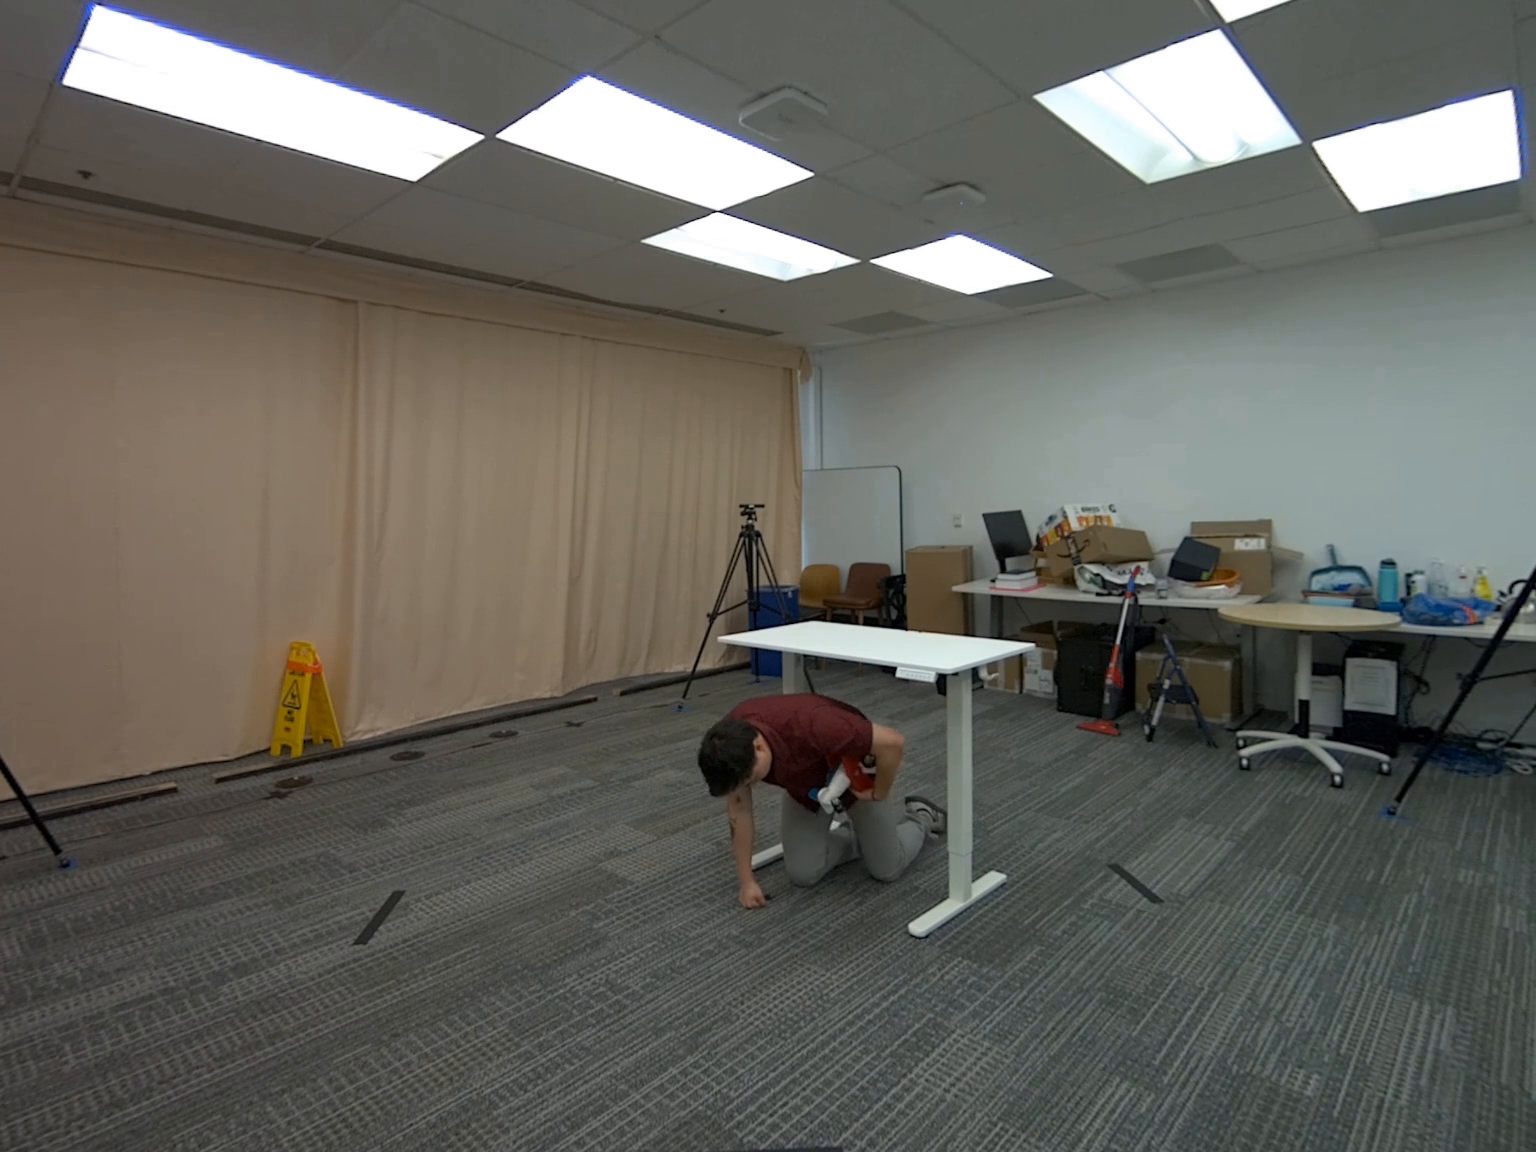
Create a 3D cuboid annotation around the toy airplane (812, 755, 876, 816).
[{"bbox_3d":[0.244,0.667,2.841,0.253,0.247,0.162,-15,28,-30],"label":"toy airplane"}]
